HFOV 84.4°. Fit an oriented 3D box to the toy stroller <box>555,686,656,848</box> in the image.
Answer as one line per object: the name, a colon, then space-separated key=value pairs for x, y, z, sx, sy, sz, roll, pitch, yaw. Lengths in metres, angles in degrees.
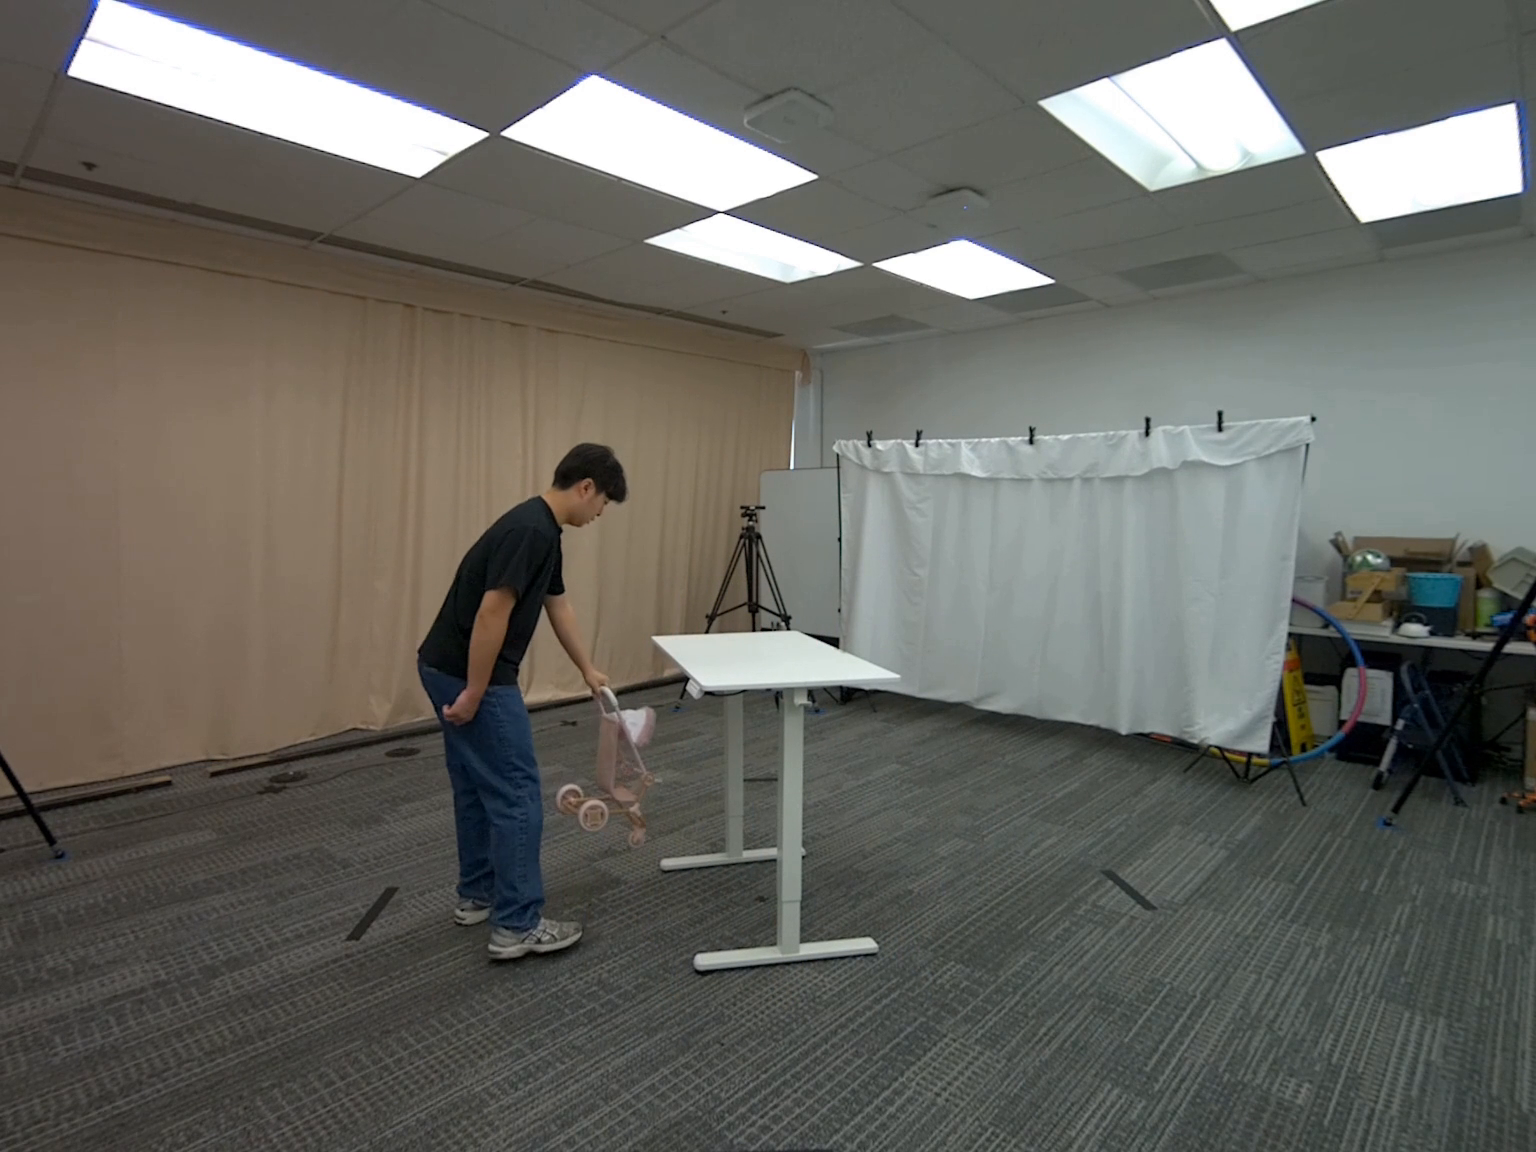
toy stroller: x=-0.537 y=0.698 z=3.053 sx=0.332 sy=0.537 sz=0.288 roll=17 pitch=-11 yaw=-25
